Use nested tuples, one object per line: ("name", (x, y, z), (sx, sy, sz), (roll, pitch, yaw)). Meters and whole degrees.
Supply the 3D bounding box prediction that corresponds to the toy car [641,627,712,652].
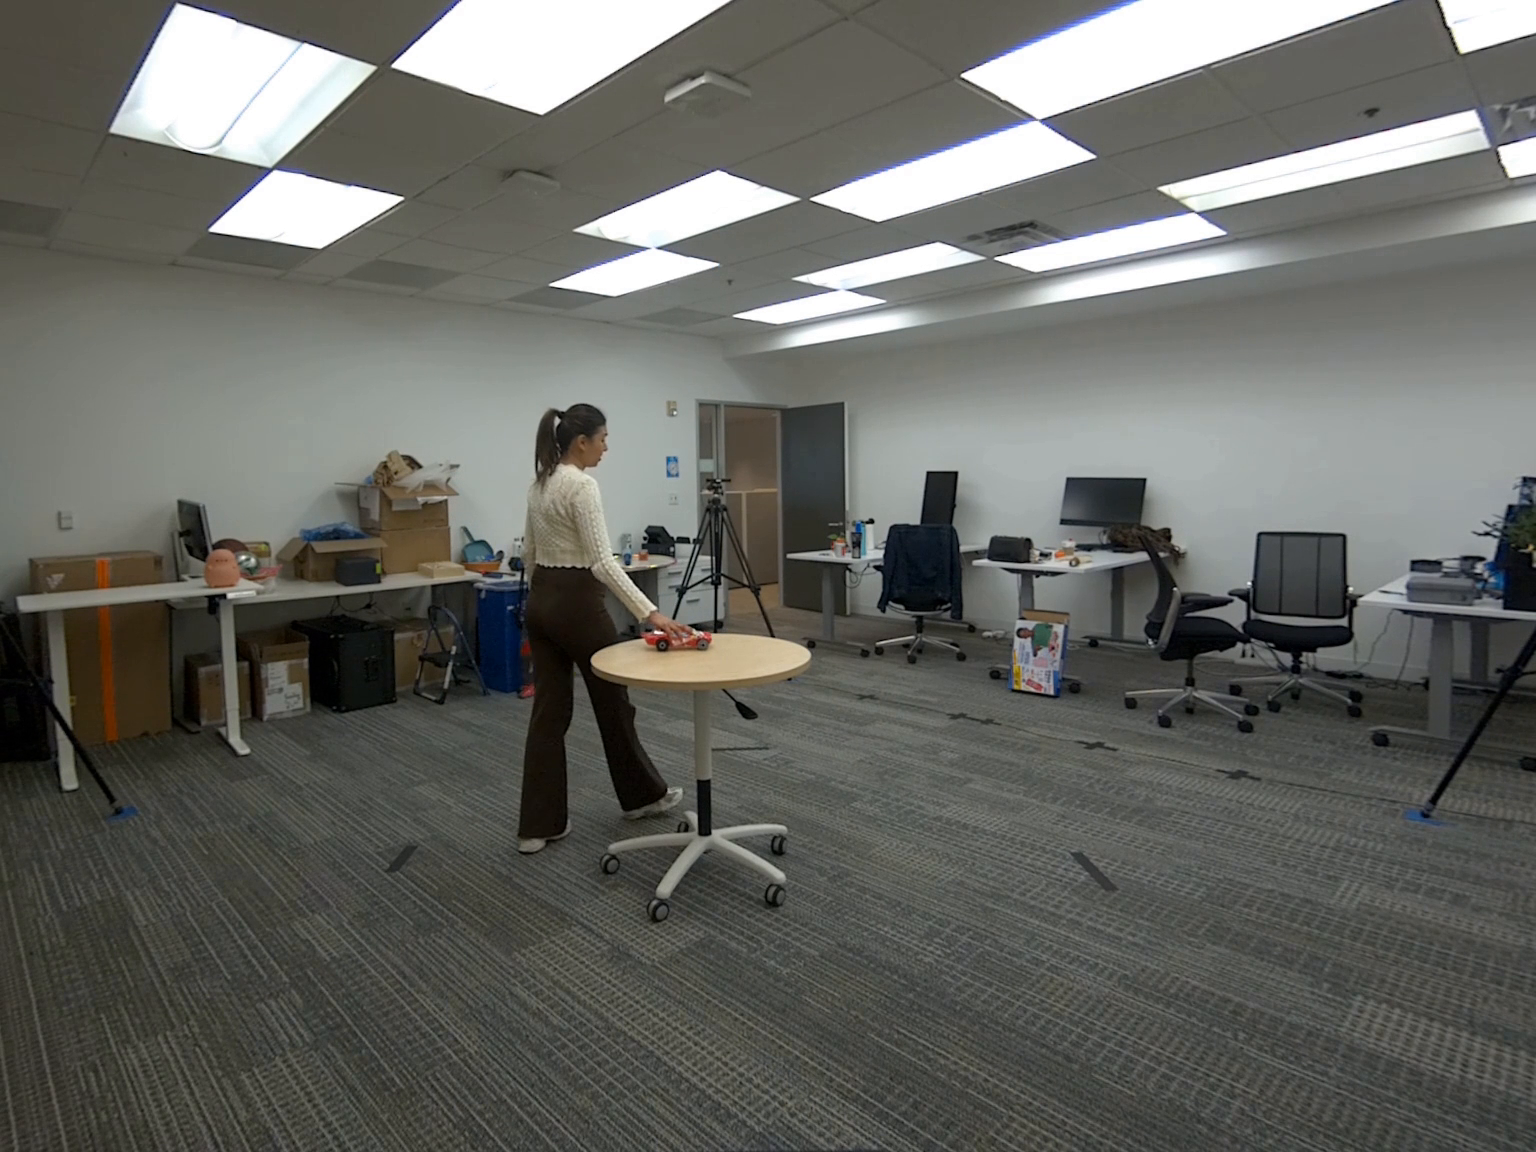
("toy car", (-0.330, 0.229, 3.101), (0.254, 0.083, 0.131), (9, 4, -3))
